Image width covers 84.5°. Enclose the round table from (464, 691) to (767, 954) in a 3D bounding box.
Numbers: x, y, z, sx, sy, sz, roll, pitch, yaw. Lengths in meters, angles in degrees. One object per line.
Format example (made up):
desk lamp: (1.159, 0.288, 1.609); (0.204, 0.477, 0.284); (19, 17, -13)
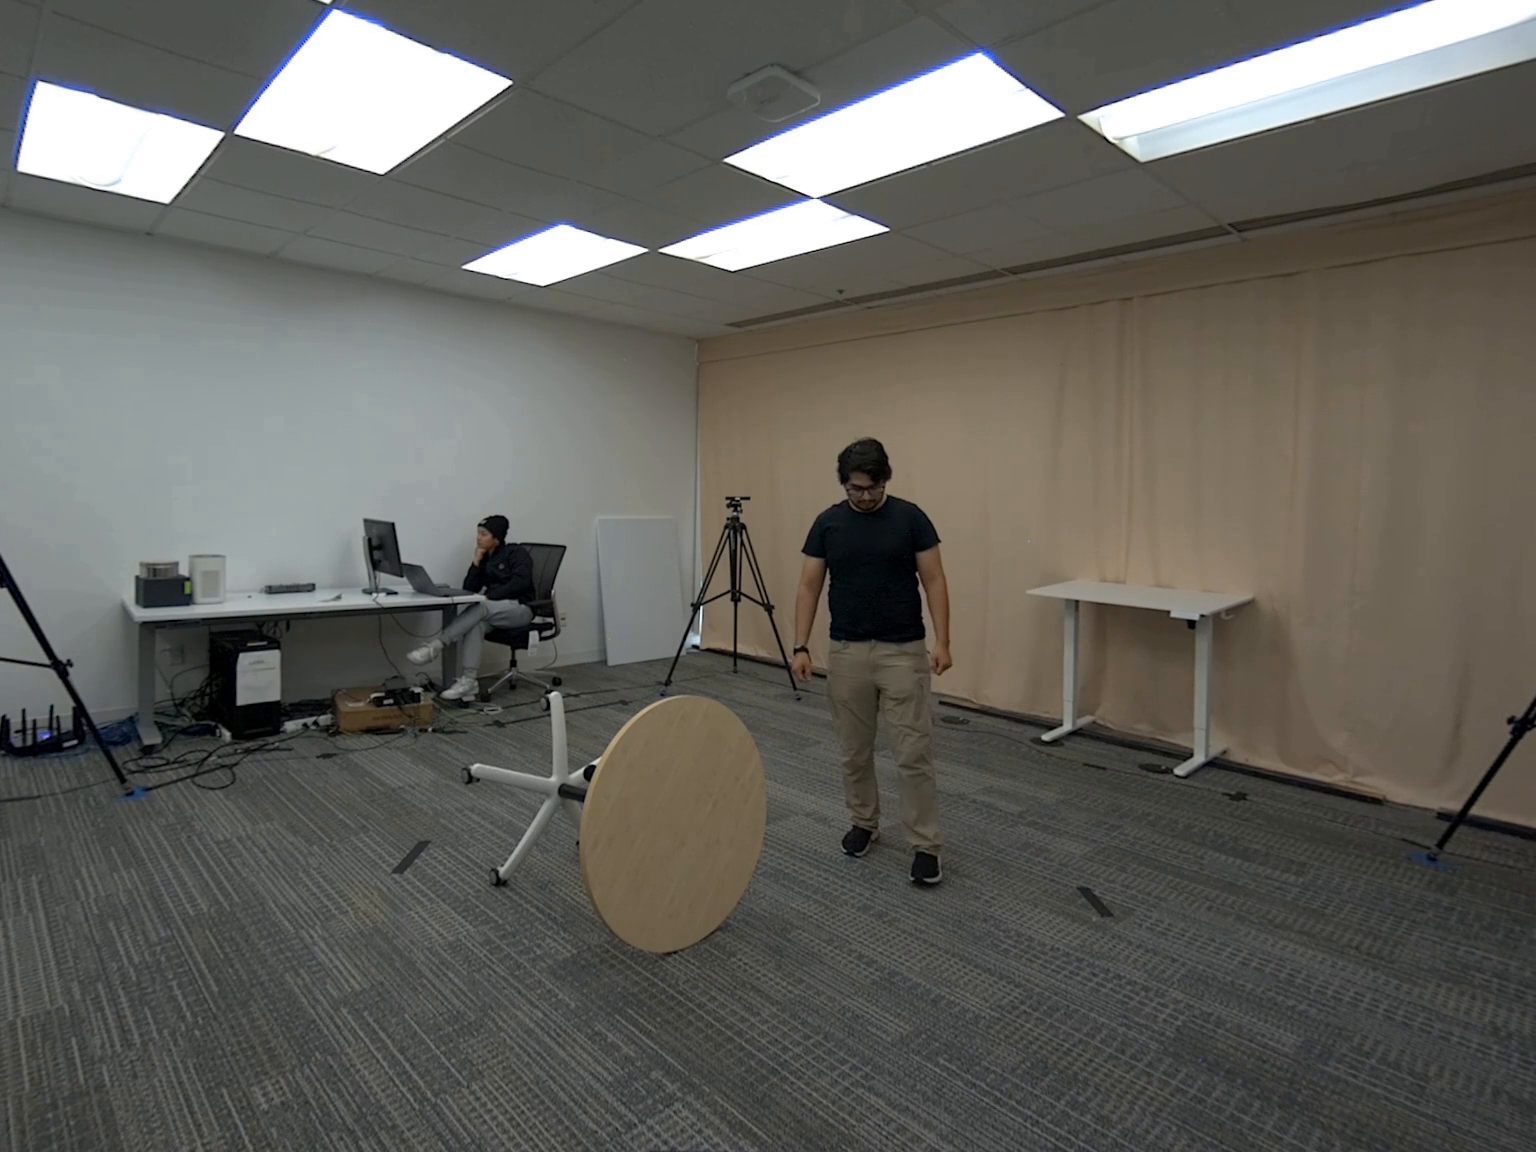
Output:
round table: (-0.558, 0.785, 2.902); (0.803, 0.786, 0.767); (-5, -1, 43)
